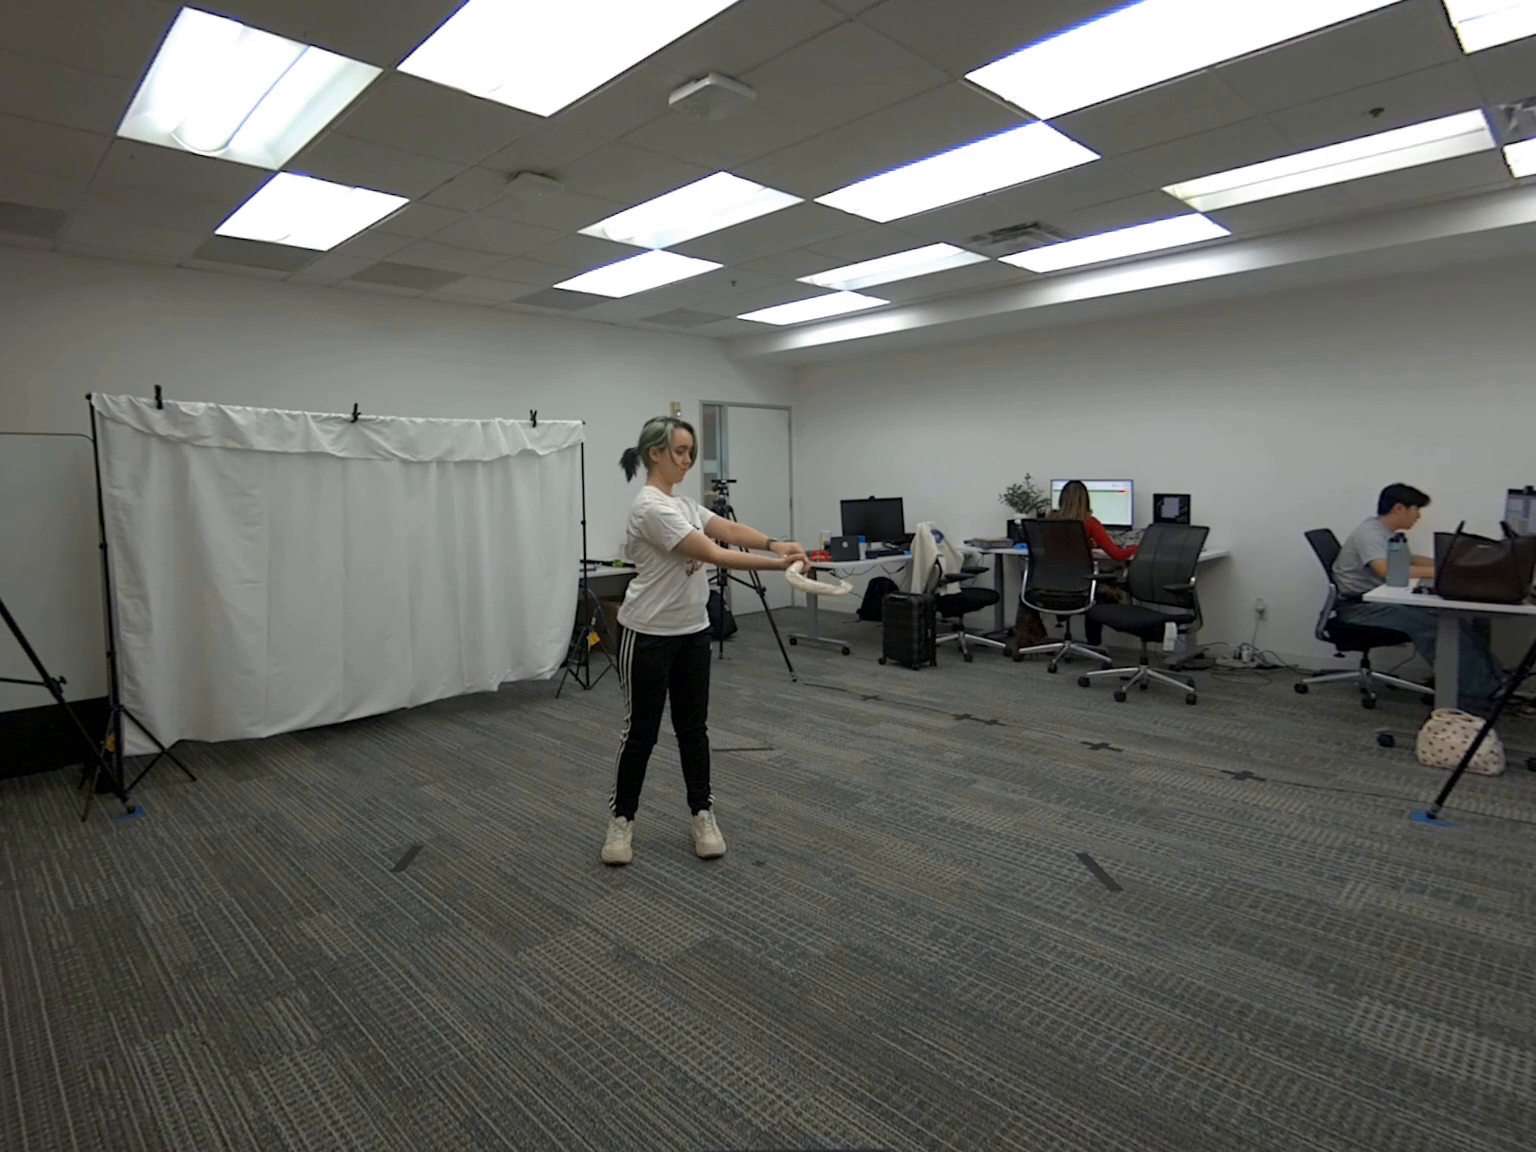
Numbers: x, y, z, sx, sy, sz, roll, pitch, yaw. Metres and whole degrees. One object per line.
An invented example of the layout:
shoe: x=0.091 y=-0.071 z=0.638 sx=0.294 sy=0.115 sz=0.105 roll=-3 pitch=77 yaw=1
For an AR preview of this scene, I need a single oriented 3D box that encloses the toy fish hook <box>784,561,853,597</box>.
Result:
toy fish hook: x=0.158 y=-0.010 z=2.847 sx=0.223 sy=0.048 sz=0.514 roll=13 pitch=13 yaw=-8
